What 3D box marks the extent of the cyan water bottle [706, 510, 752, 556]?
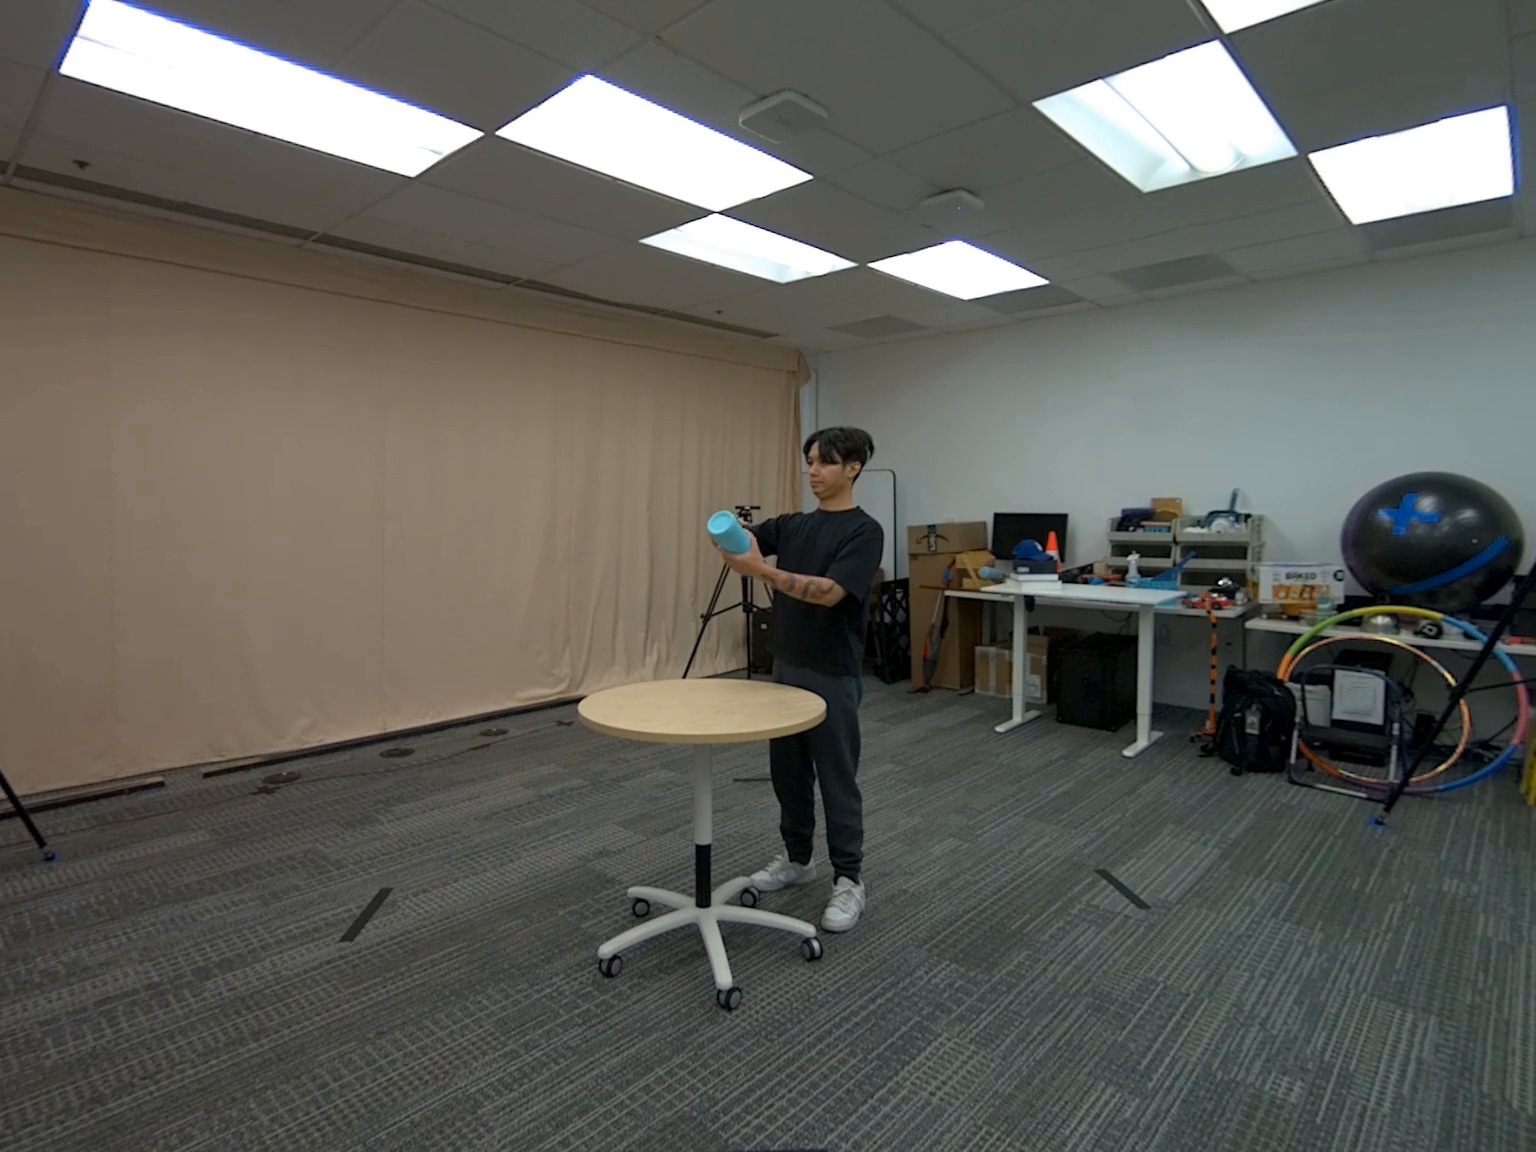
[{"bbox_3d":[-0.086,-0.092,2.659,0.095,0.093,0.274,2,-32,25],"label":"cyan water bottle"}]
